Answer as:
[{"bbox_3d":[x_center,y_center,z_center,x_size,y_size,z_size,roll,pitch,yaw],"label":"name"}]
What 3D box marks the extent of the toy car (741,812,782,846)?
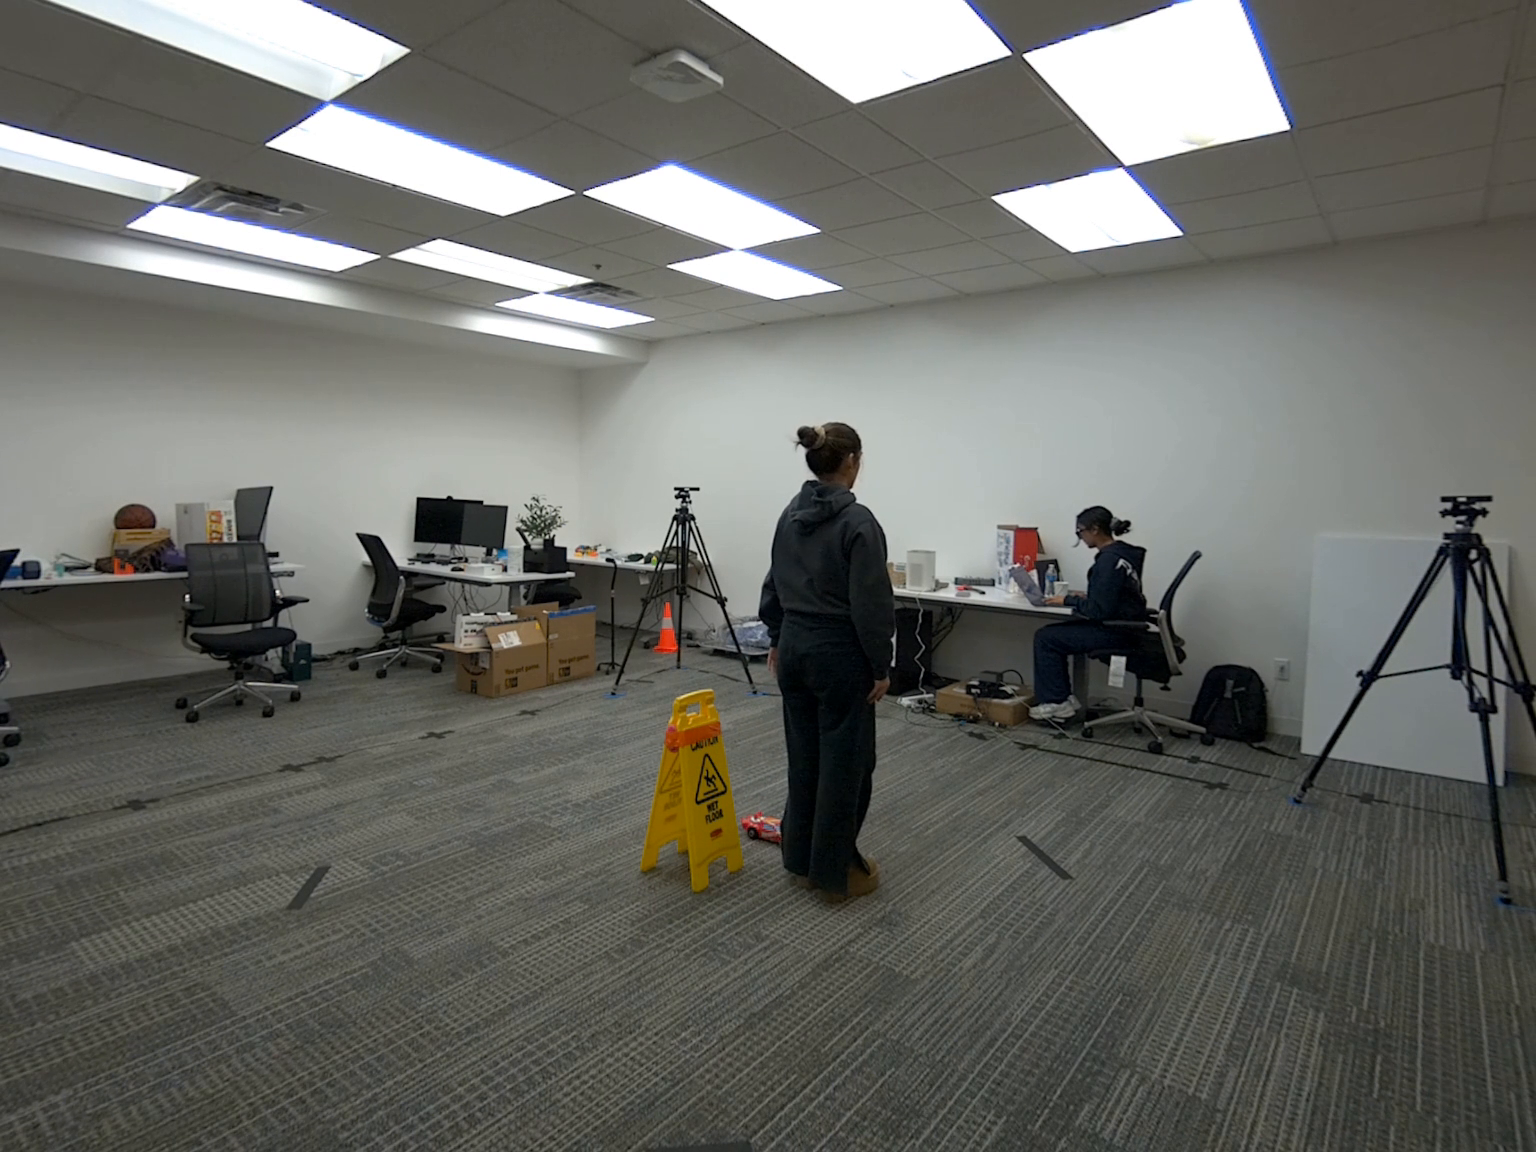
[{"bbox_3d":[0.011,1.009,3.393,0.264,0.082,0.126,18,13,34],"label":"toy car"}]
